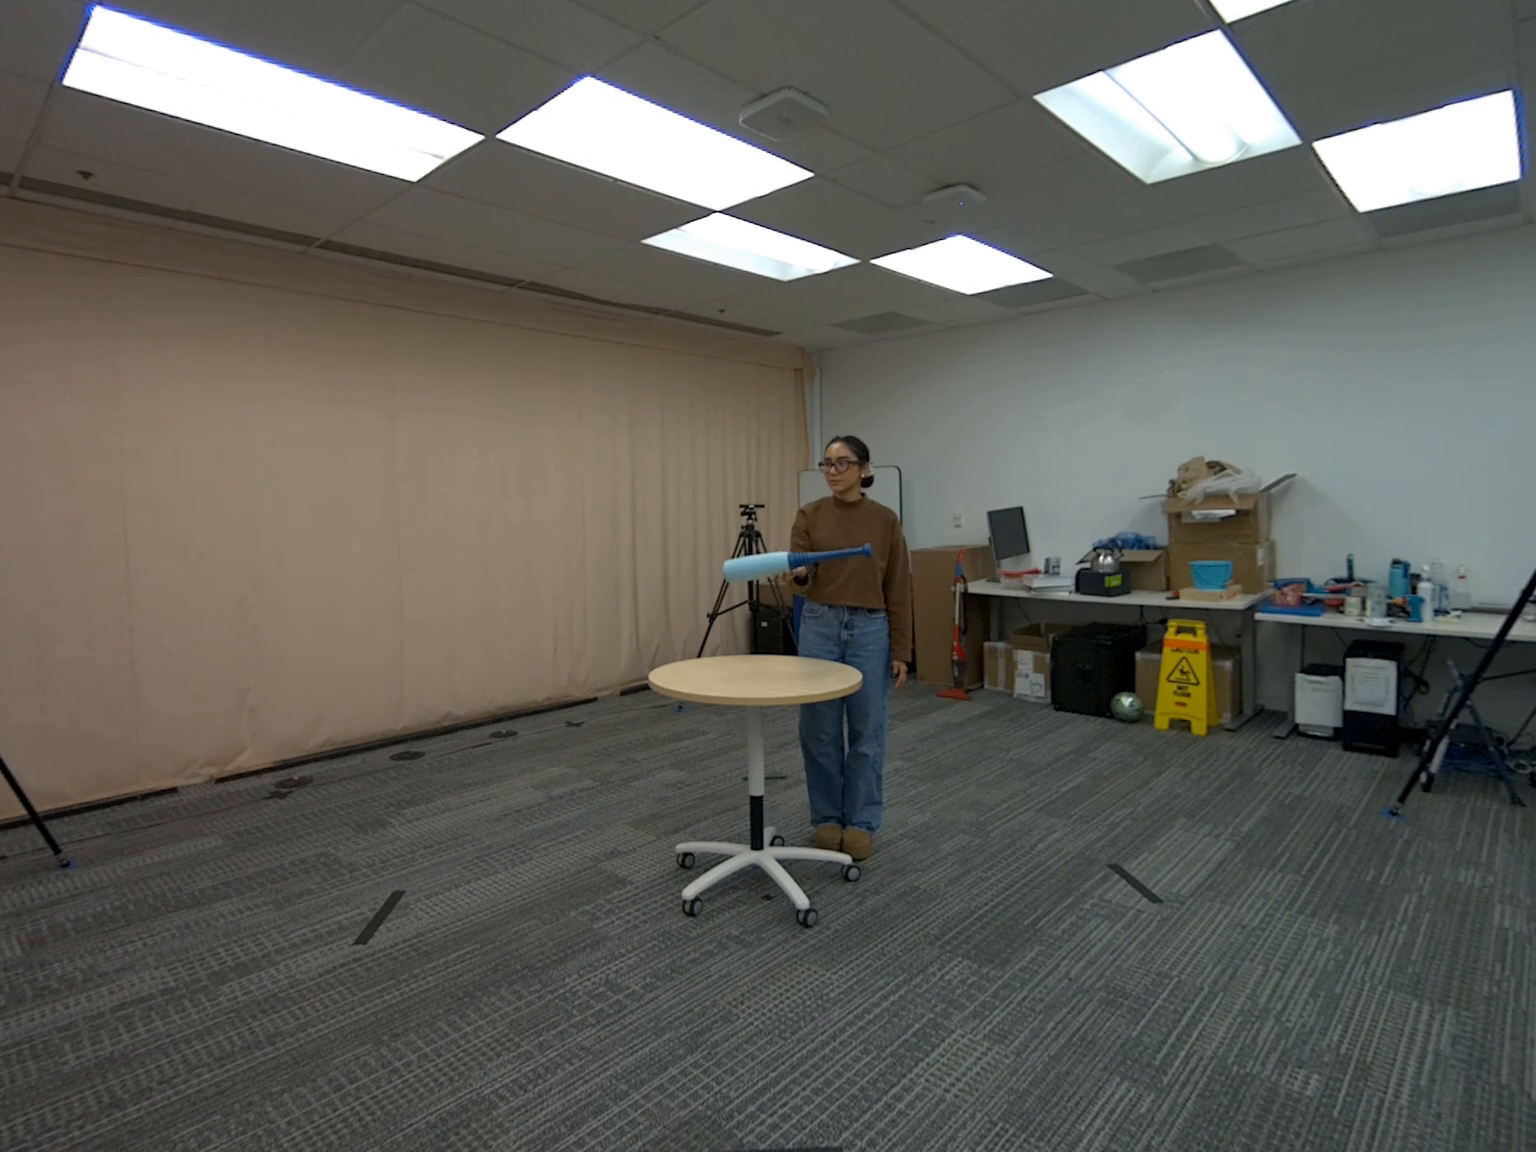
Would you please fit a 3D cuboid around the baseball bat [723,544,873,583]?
[{"bbox_3d":[0.107,-0.046,3.014,0.553,0.089,0.087,-7,2,19],"label":"baseball bat"}]
